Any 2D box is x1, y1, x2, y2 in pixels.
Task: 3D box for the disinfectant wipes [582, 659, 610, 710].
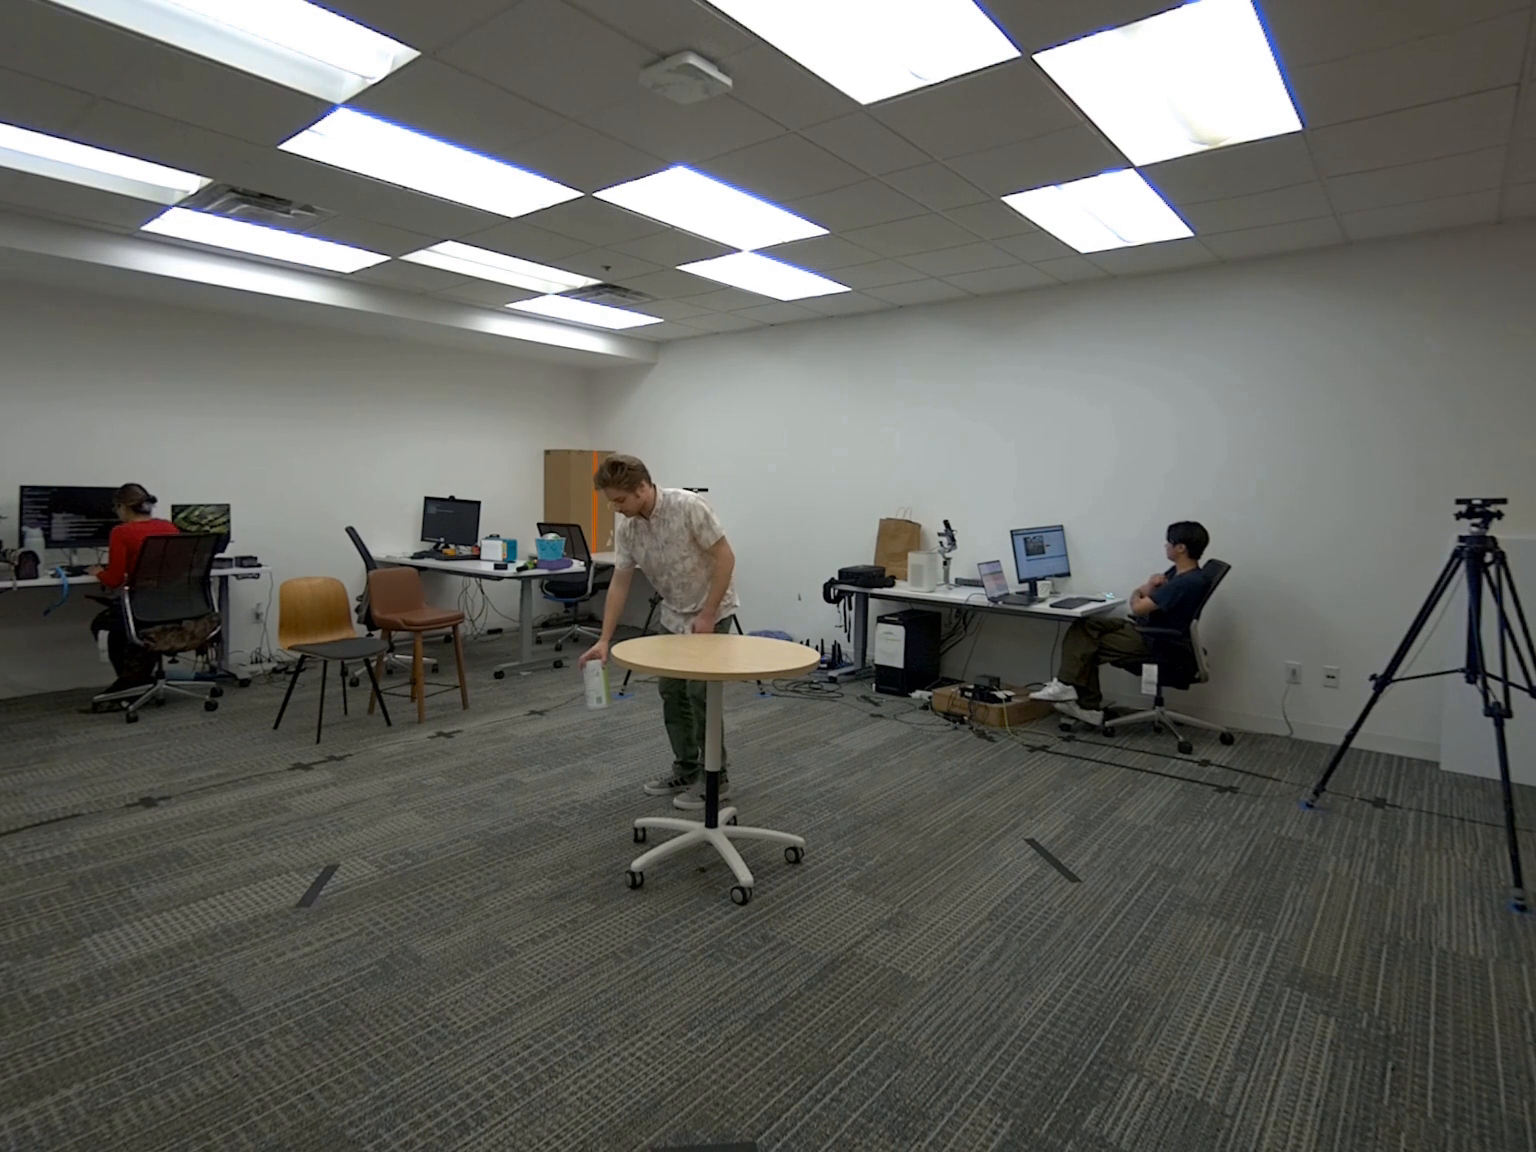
[{"bbox_3d":[-0.769,0.479,3.756,0.117,0.219,0.117,-5,-7,-2],"label":"disinfectant wipes"}]
